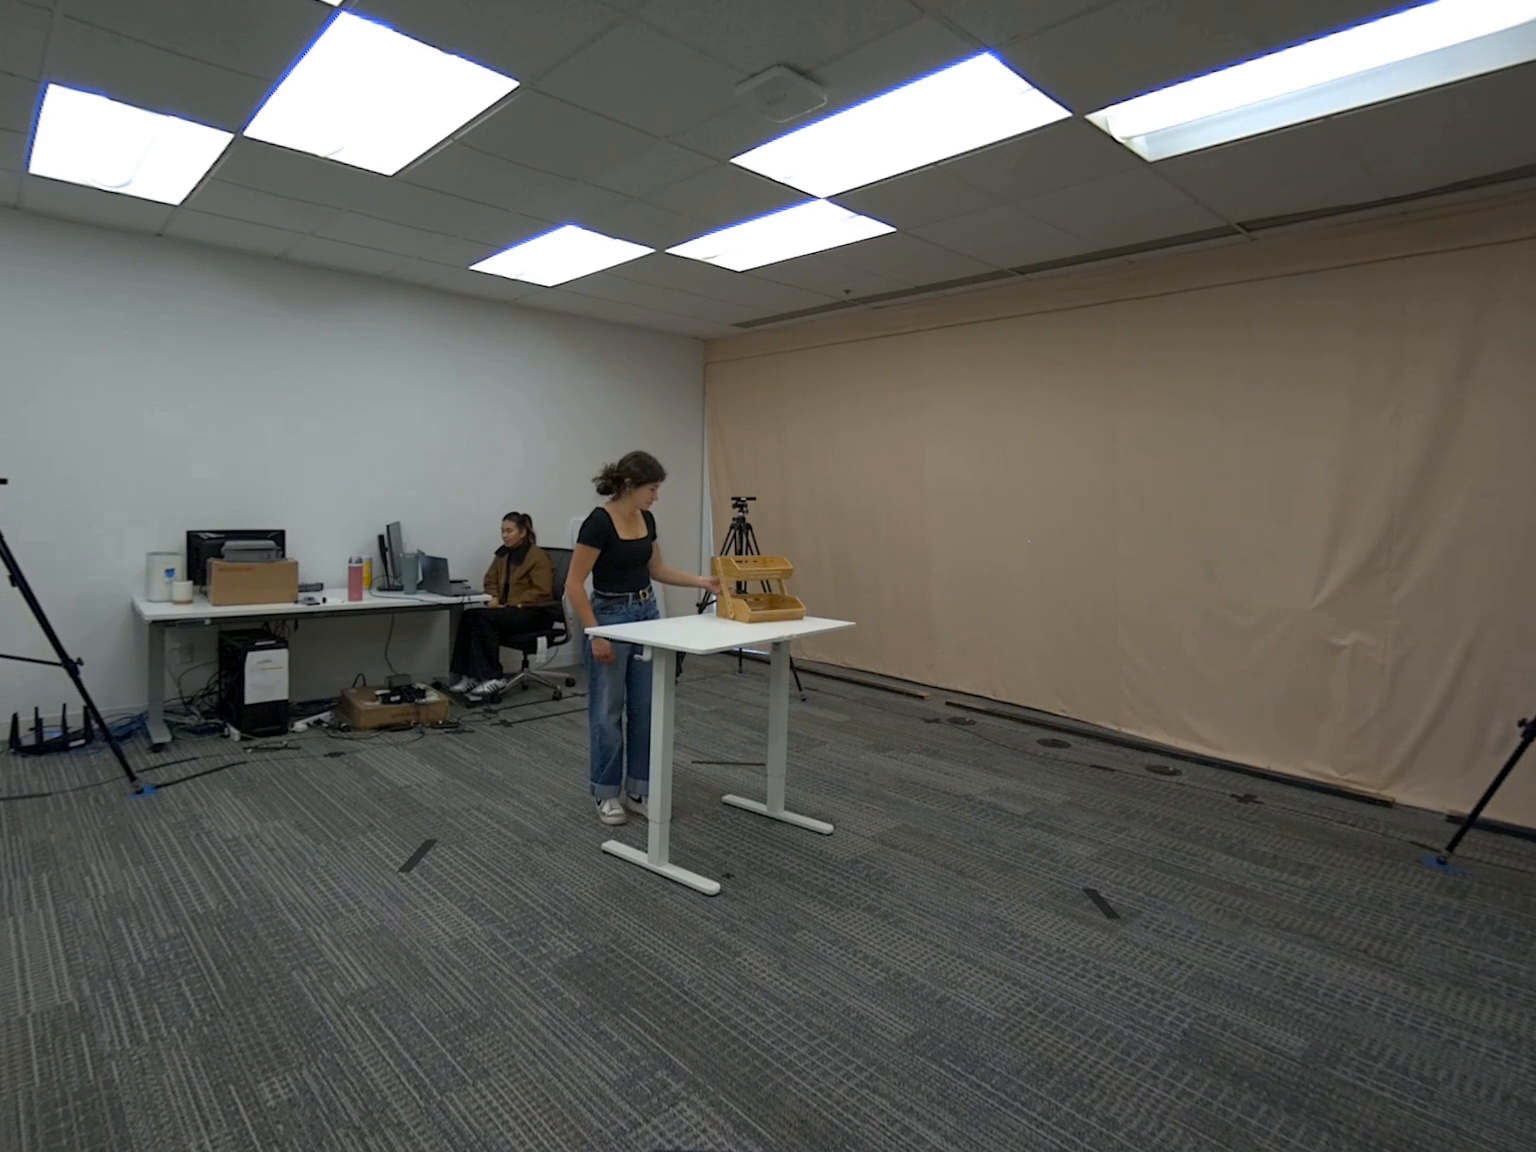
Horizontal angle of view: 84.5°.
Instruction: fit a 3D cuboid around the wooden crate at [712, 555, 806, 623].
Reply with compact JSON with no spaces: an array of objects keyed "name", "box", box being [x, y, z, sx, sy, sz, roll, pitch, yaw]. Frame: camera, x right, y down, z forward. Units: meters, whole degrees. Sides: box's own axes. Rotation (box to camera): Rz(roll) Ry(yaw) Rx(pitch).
[{"name":"wooden crate","box":[-0.054,0.046,3.659,0.317,0.273,0.309,-1,4,-37]}]
